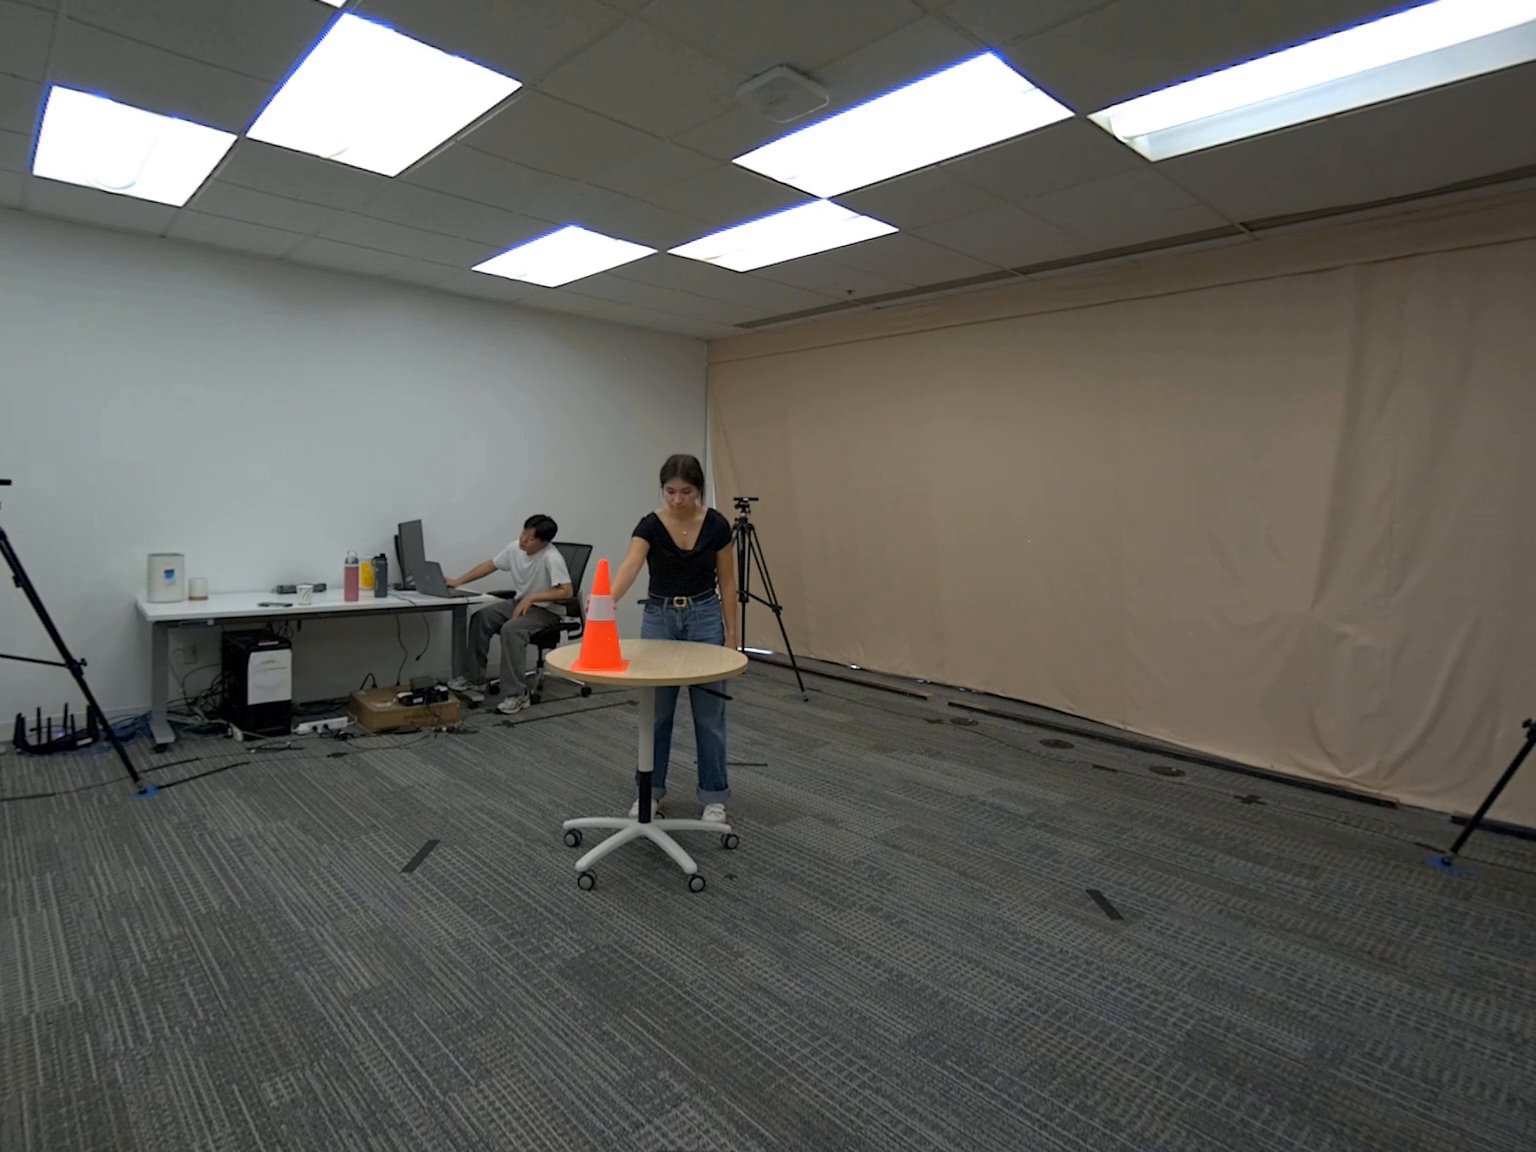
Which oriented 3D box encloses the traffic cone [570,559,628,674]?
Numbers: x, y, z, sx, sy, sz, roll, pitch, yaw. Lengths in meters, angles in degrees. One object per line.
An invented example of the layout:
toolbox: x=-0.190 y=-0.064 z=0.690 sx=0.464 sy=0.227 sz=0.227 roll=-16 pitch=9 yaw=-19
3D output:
traffic cone: x=-0.610 y=0.136 z=3.009 sx=0.202 sy=0.383 sz=0.206 roll=1 pitch=2 yaw=-8
